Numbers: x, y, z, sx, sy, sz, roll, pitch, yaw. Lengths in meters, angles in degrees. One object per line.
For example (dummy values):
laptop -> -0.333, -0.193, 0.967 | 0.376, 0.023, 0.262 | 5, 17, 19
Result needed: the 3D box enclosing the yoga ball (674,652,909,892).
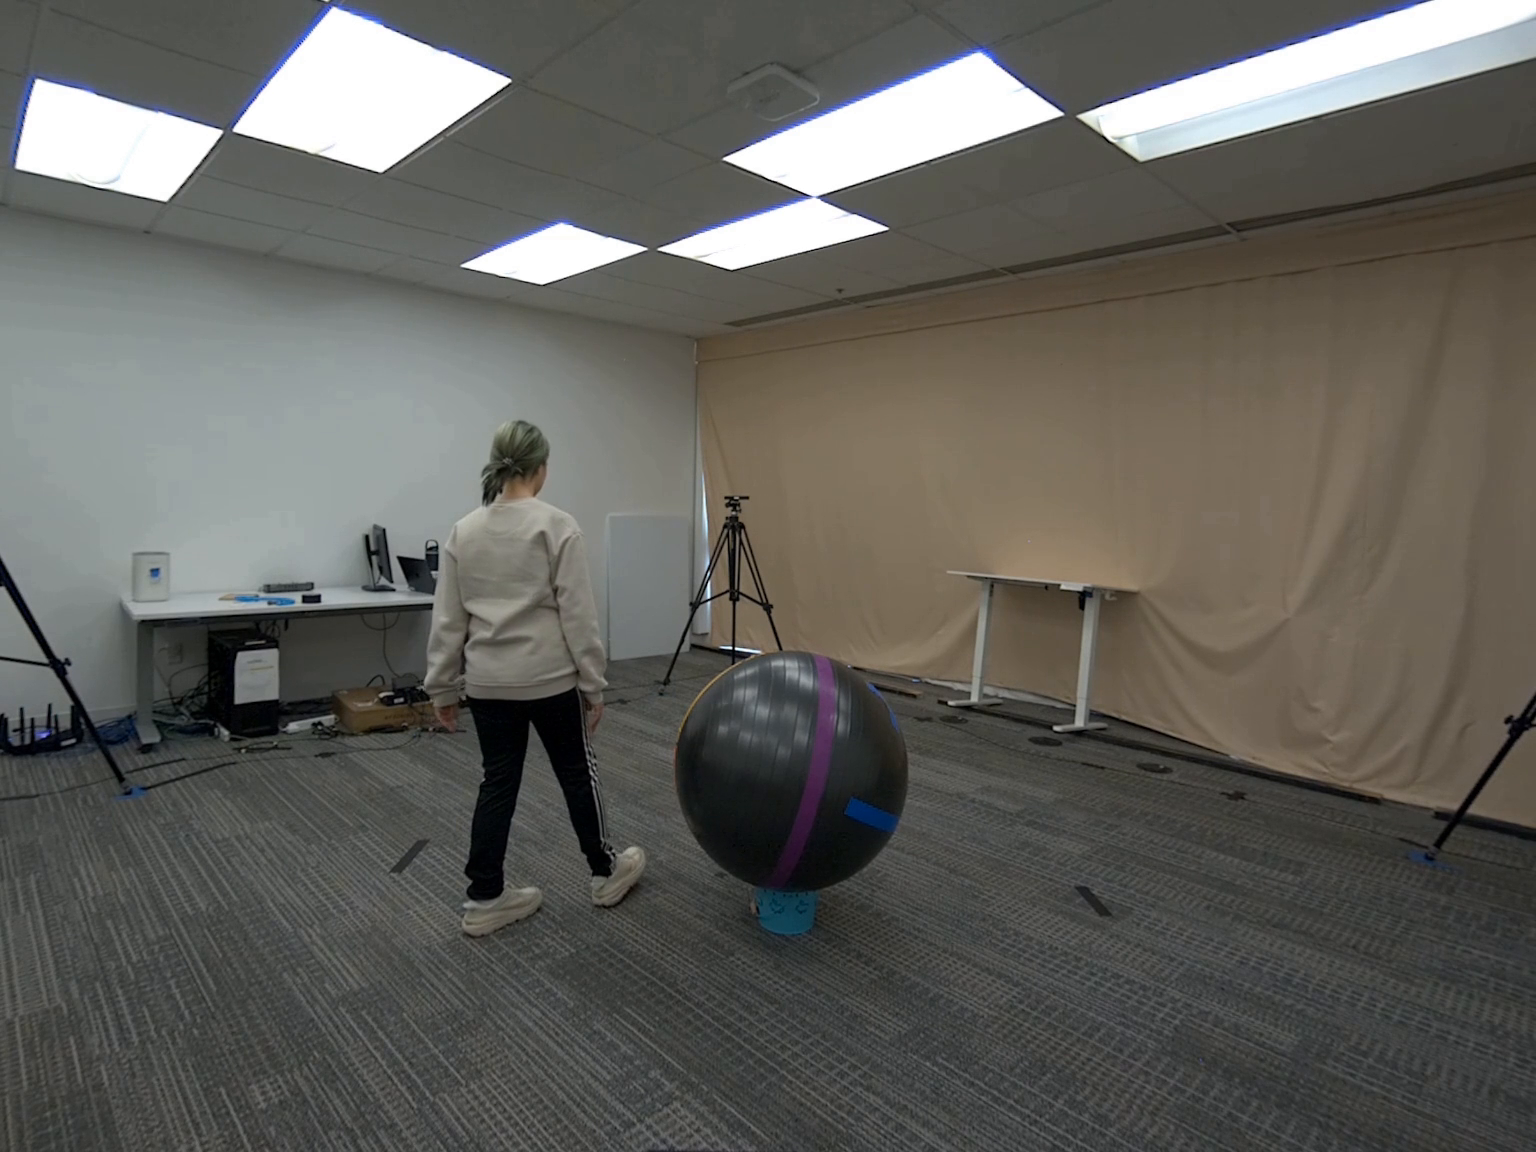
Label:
yoga ball -> 0.067, 0.629, 2.752 | 0.757, 0.756, 0.761 | 1, 4, -1
